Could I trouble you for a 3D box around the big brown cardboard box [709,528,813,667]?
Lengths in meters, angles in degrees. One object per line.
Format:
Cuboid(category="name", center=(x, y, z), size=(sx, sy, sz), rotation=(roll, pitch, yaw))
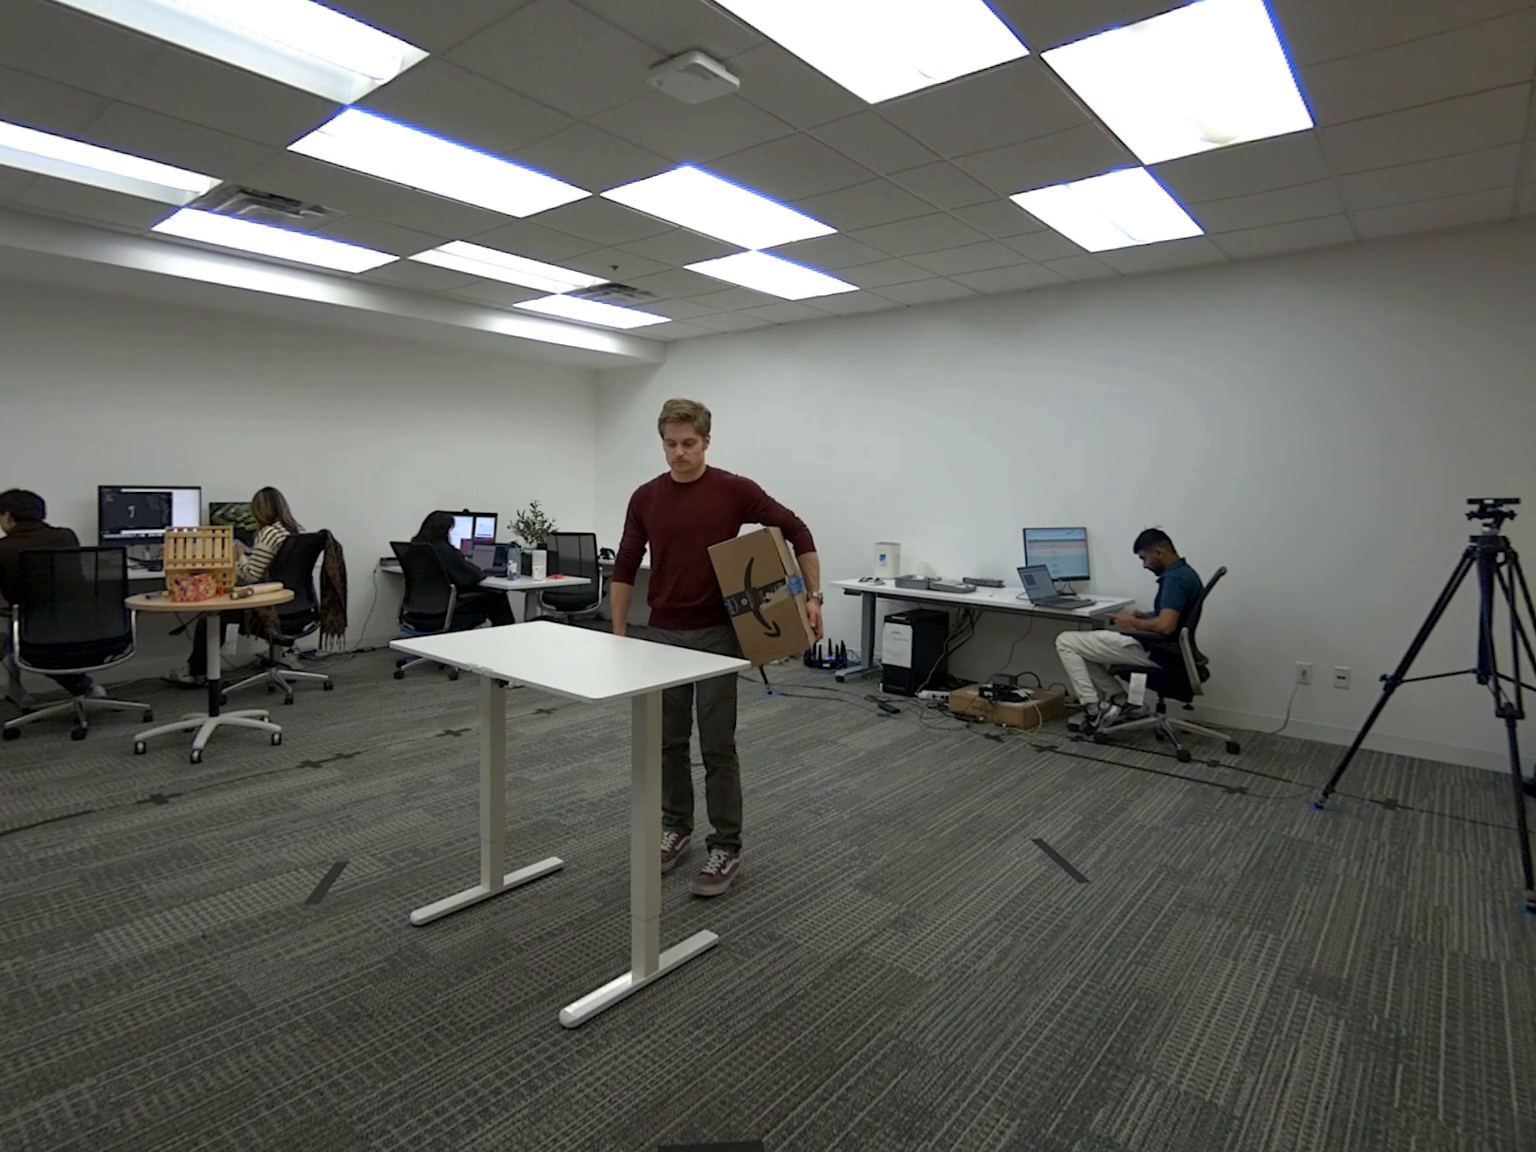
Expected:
Cuboid(category="big brown cardboard box", center=(0.000, 0.053, 2.999), size=(0.235, 0.419, 0.583), rotation=(-19, -1, 9))
